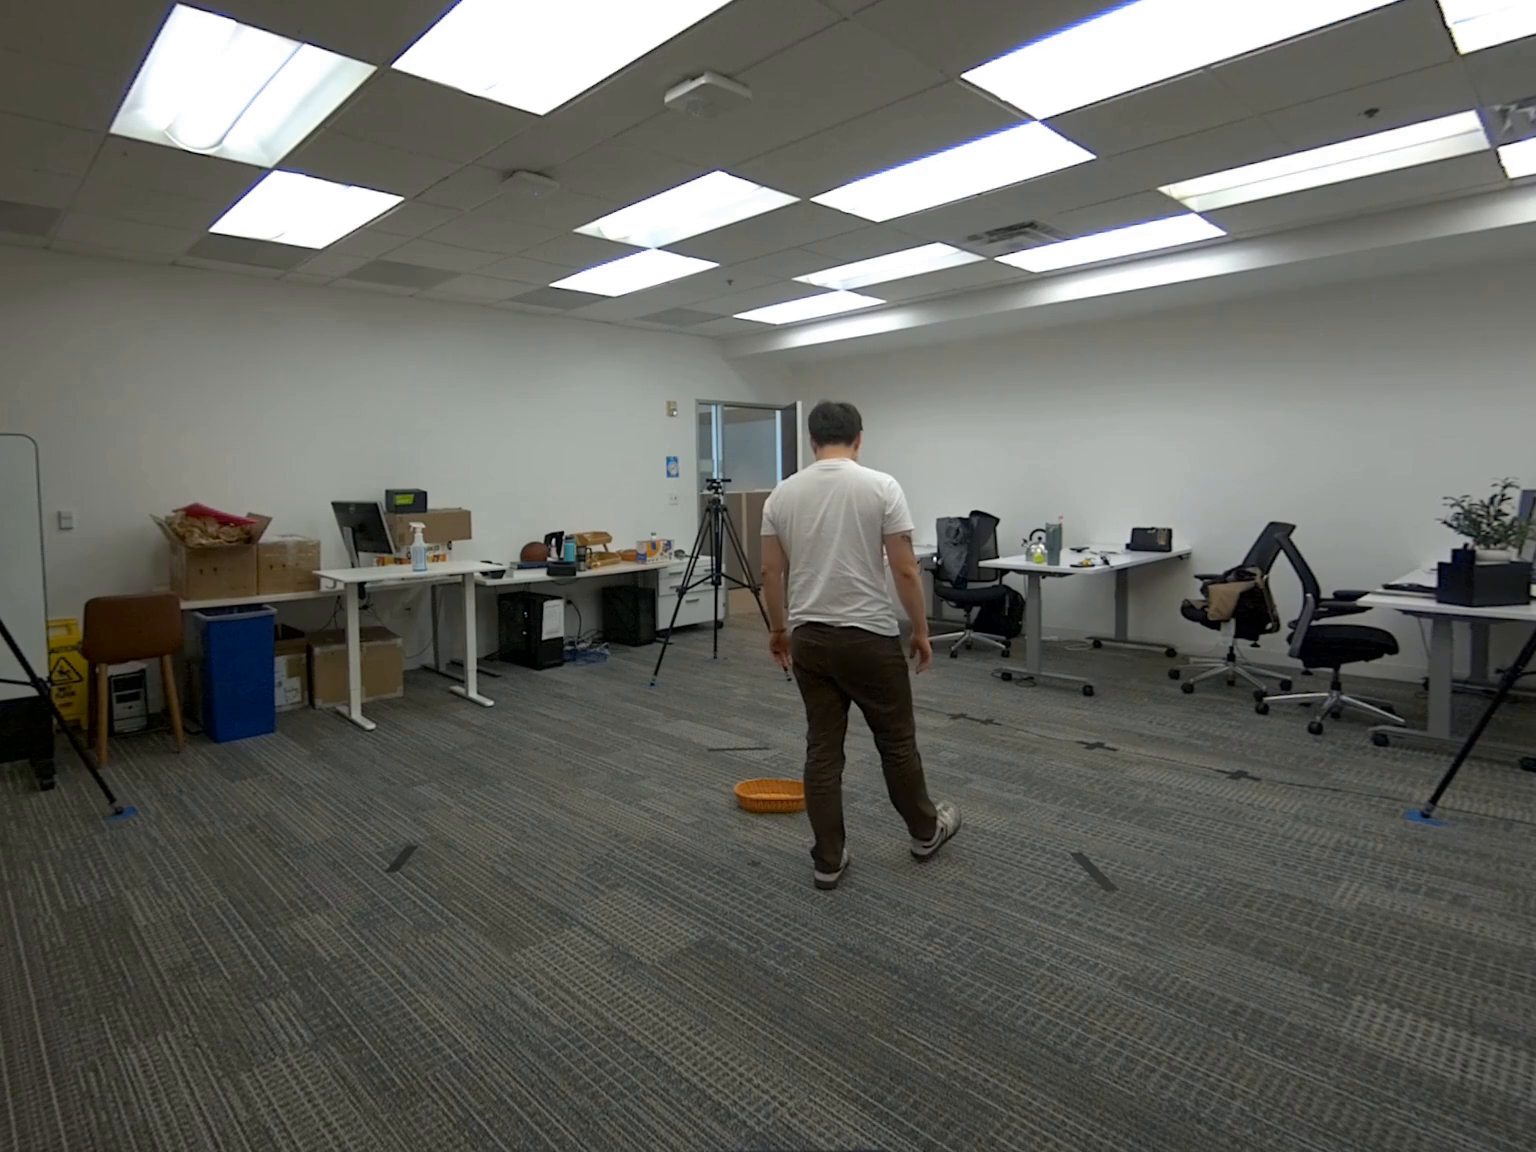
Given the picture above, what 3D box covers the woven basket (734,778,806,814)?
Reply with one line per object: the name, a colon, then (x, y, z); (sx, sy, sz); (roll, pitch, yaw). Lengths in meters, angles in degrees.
woven basket: (0.023, 0.944, 3.660); (0.353, 0.073, 0.252); (0, 6, 6)
